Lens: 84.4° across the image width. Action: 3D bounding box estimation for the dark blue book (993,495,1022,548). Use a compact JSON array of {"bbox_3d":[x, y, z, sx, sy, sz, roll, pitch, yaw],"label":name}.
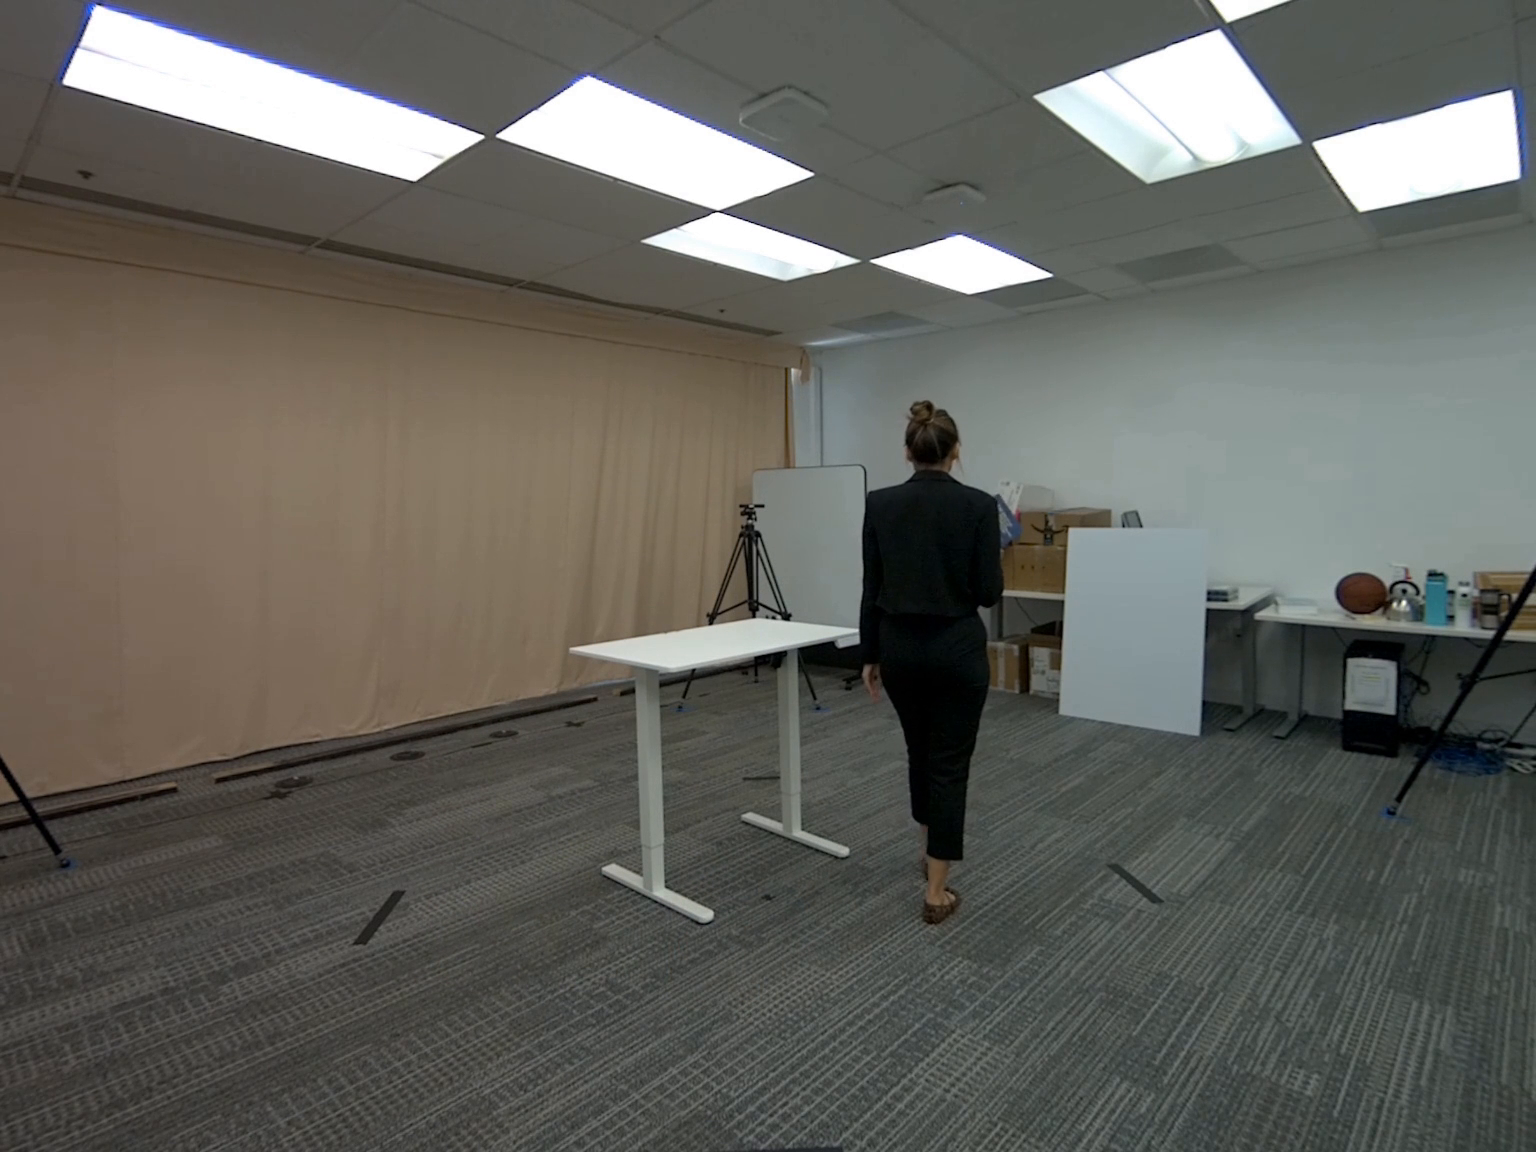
[{"bbox_3d":[0.805,-0.171,3.013,0.242,0.164,0.045,-33,-7,-27],"label":"dark blue book"}]
